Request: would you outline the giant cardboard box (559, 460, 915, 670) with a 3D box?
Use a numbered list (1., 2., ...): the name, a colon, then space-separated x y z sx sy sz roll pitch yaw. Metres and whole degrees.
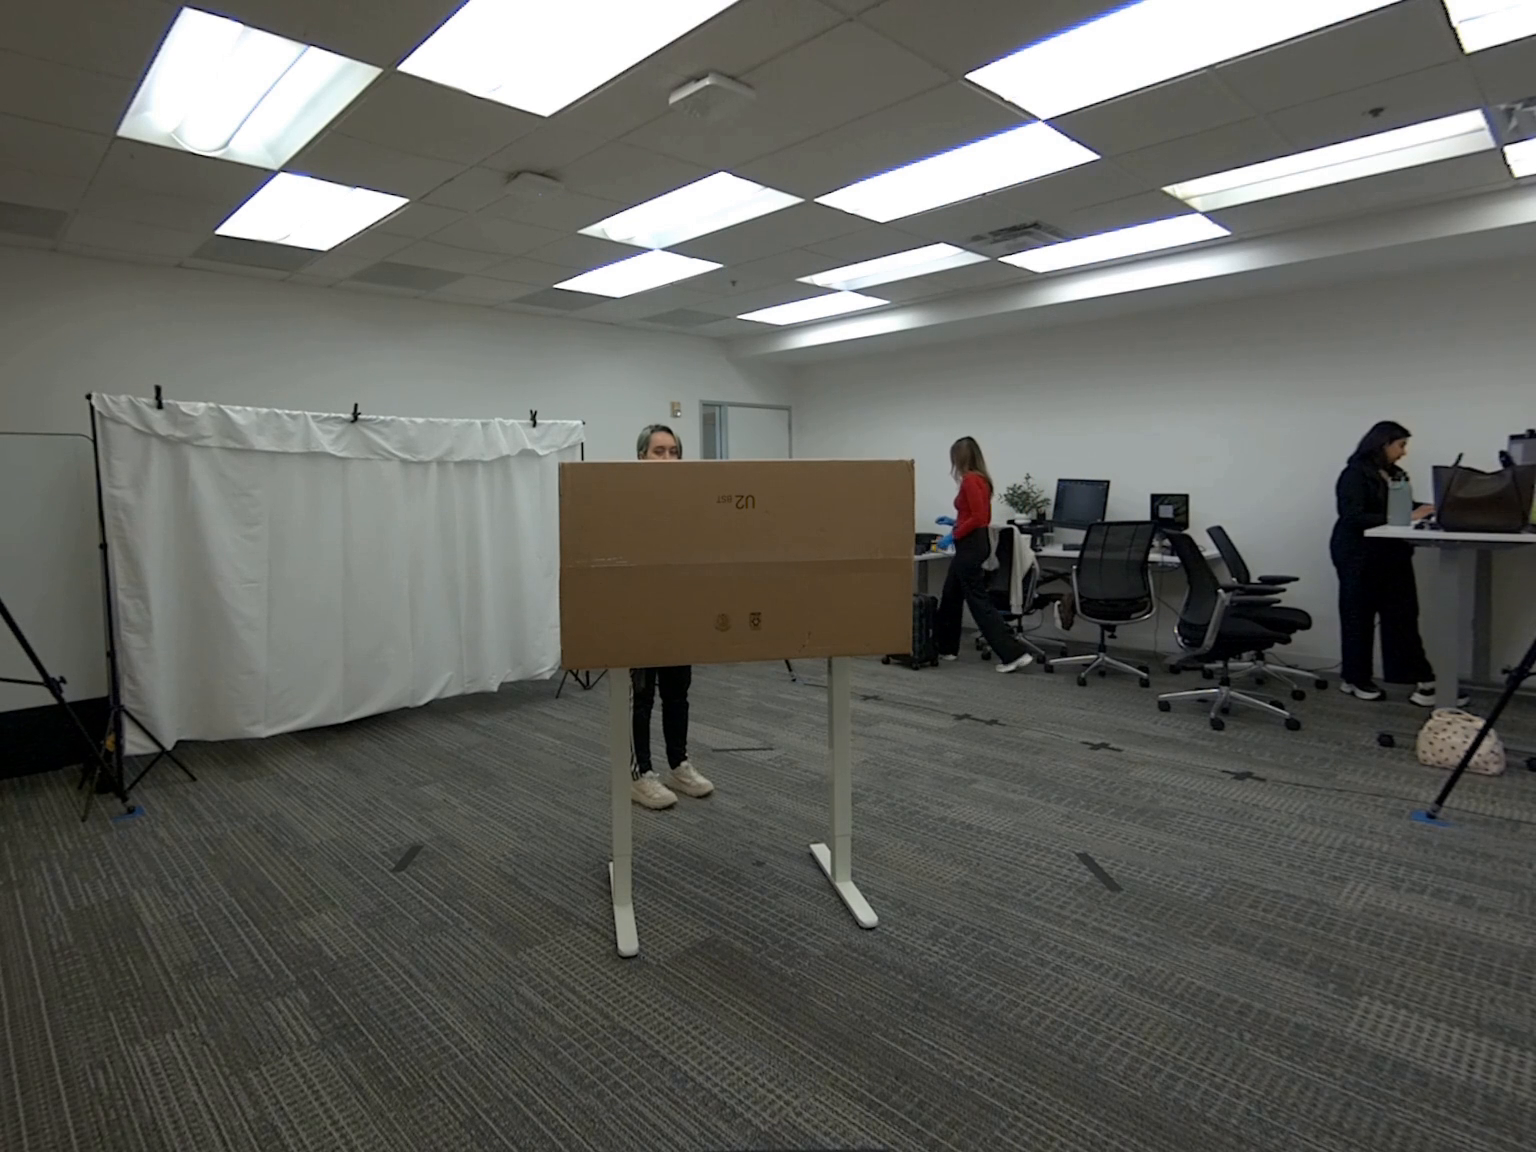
1. giant cardboard box: -0.110 -0.064 2.621 1.016 0.581 0.454 -2 6 -11
